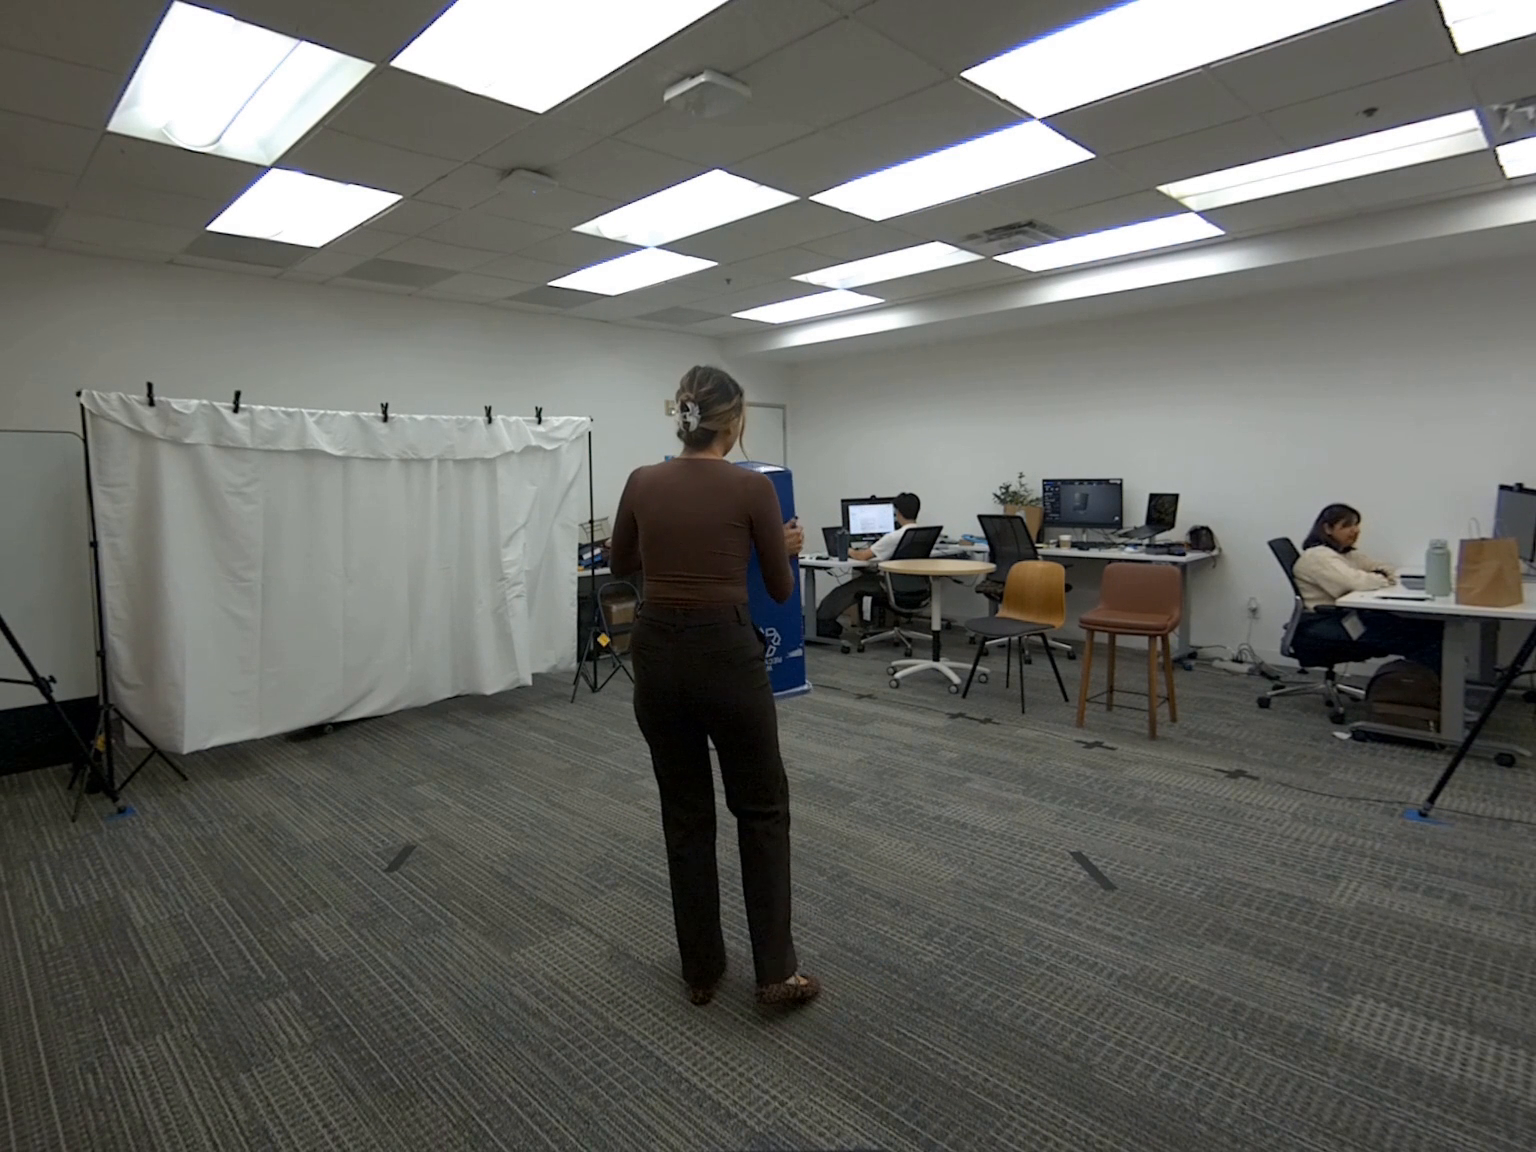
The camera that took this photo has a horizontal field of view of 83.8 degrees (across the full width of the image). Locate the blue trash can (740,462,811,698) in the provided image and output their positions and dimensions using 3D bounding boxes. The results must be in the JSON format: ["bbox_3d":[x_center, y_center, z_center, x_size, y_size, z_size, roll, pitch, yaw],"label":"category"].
[{"bbox_3d":[-0.112,0.012,2.746,0.368,0.706,0.388,-8,12,-22],"label":"blue trash can"}]
